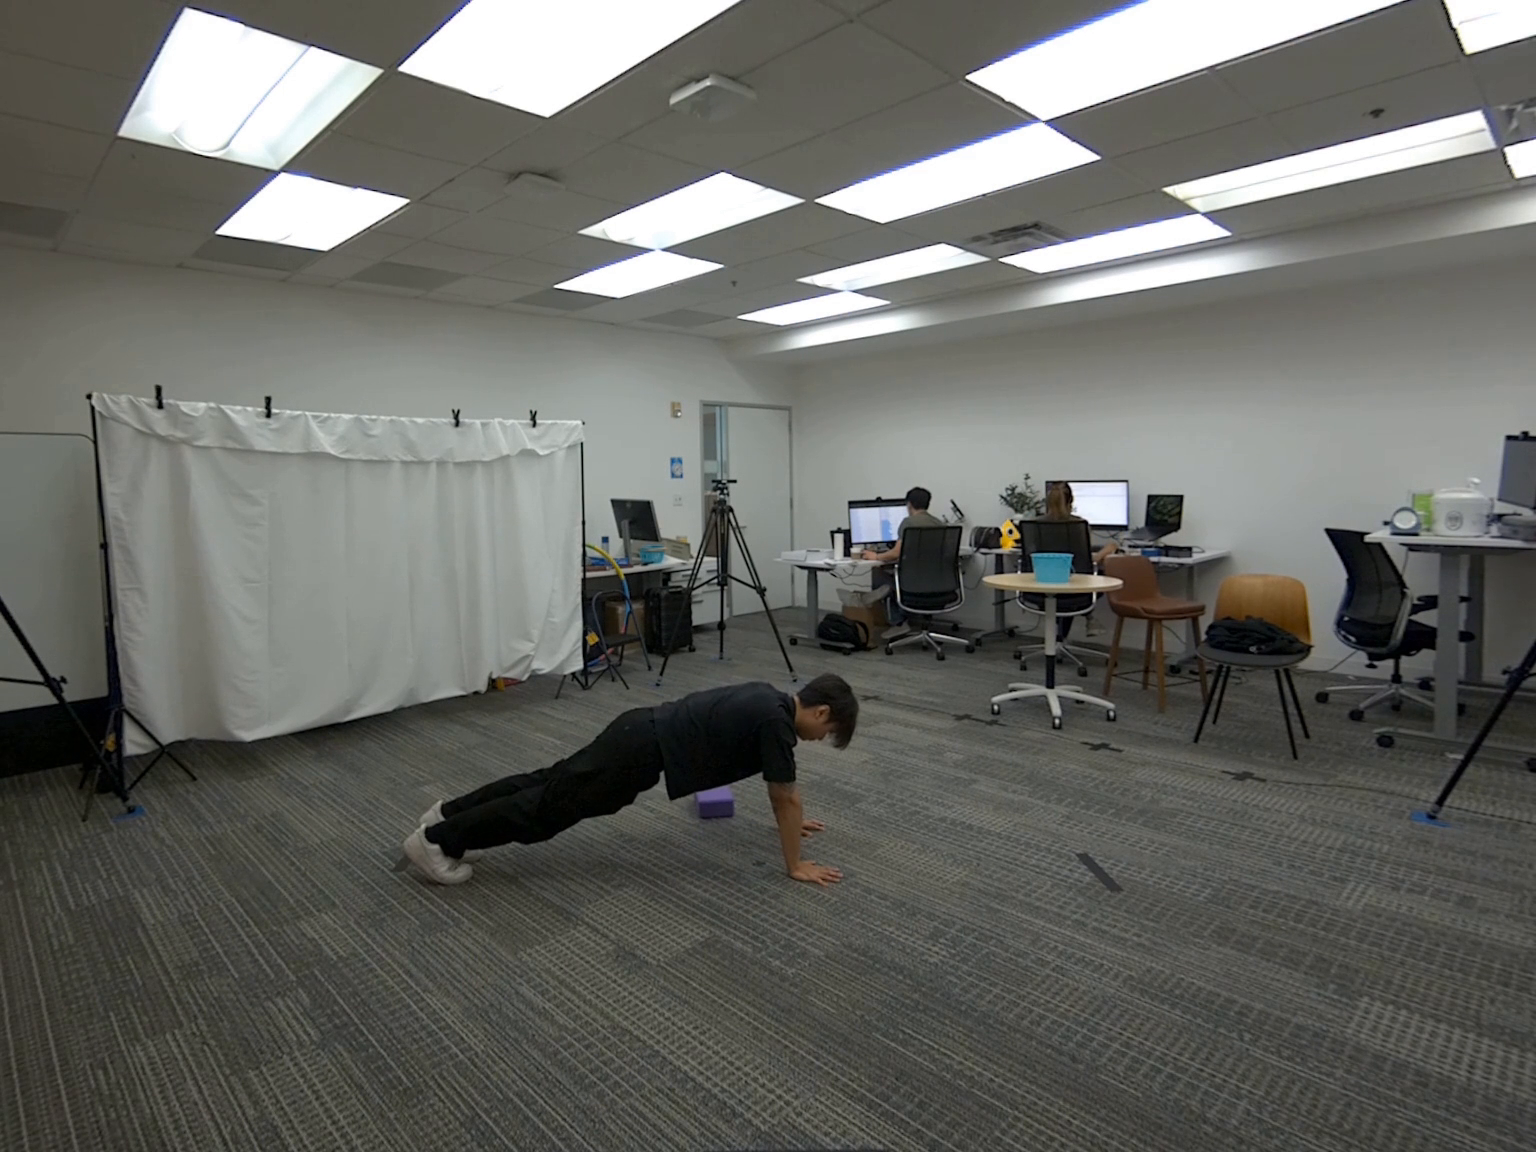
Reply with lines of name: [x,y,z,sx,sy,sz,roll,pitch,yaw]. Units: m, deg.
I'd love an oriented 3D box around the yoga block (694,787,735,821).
yoga block: [-0.230,0.949,3.647,0.148,0.076,0.232,-2,7,-10]
